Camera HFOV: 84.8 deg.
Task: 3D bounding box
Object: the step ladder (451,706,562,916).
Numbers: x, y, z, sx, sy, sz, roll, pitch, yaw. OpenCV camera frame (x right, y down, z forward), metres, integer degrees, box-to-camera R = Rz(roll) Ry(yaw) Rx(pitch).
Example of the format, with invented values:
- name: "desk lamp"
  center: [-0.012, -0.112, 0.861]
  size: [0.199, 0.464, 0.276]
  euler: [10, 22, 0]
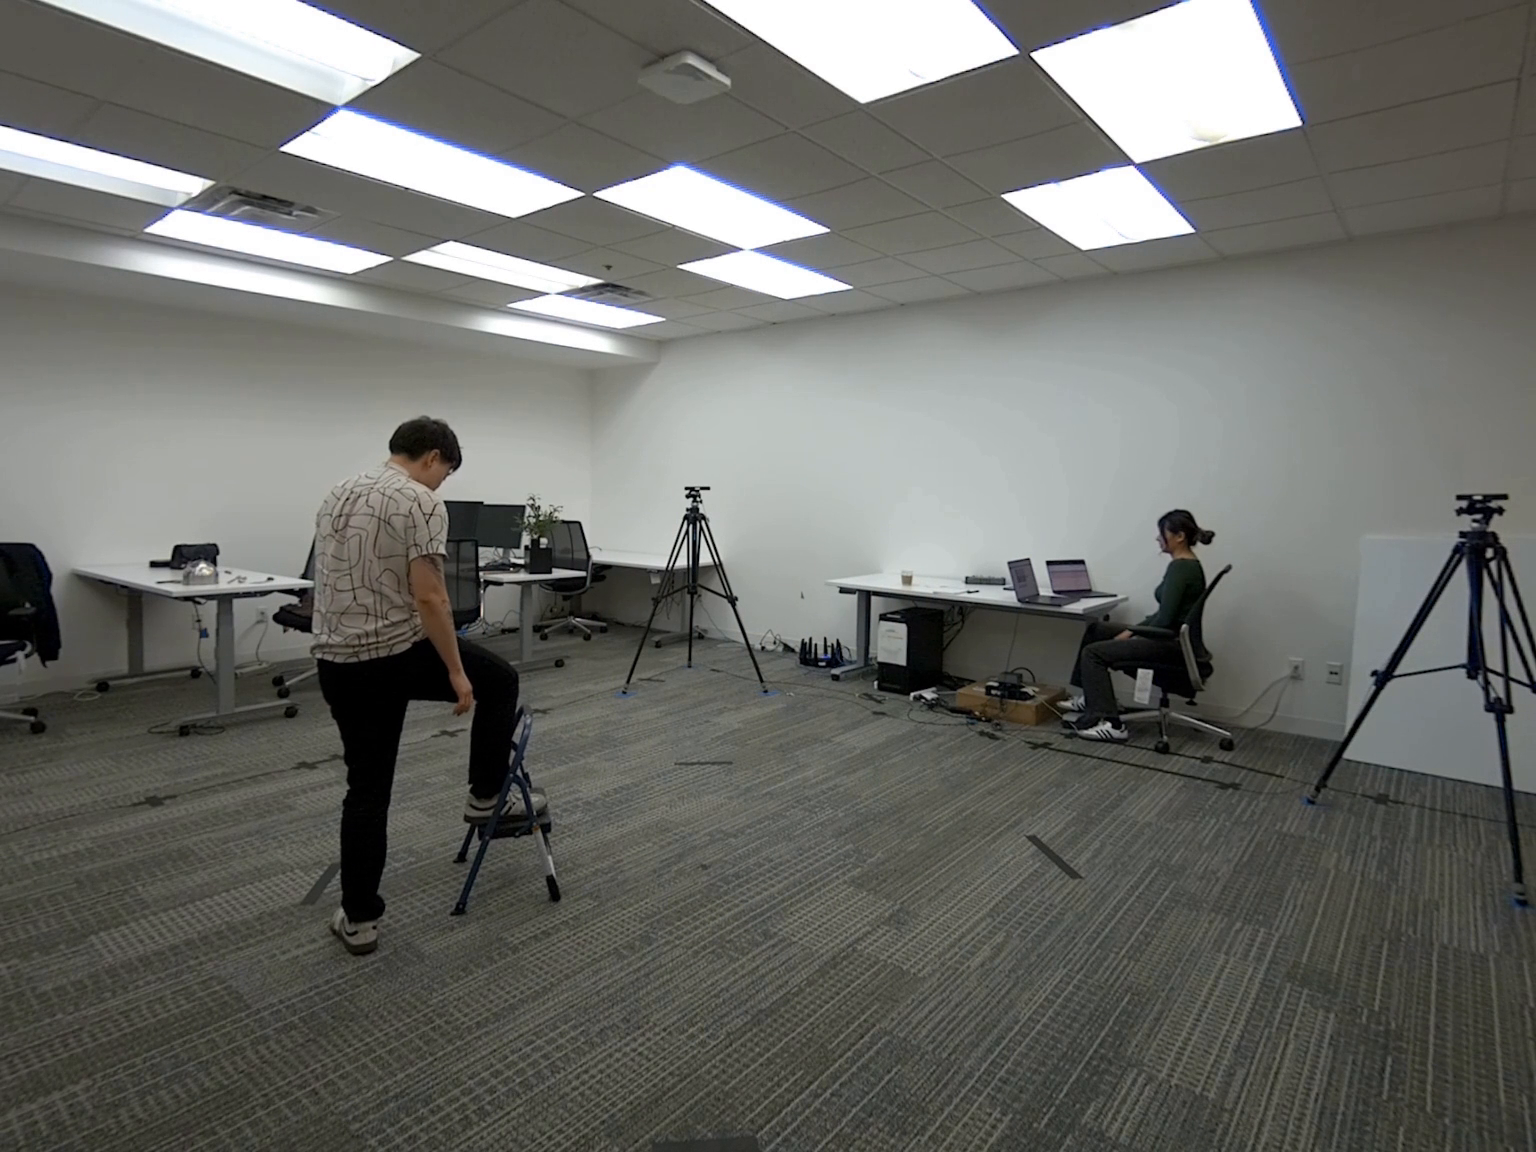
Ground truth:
- name: "step ladder"
  center: [-0.934, 0.771, 2.976]
  size: [0.343, 0.604, 0.440]
  euler: [-1, 4, -19]
